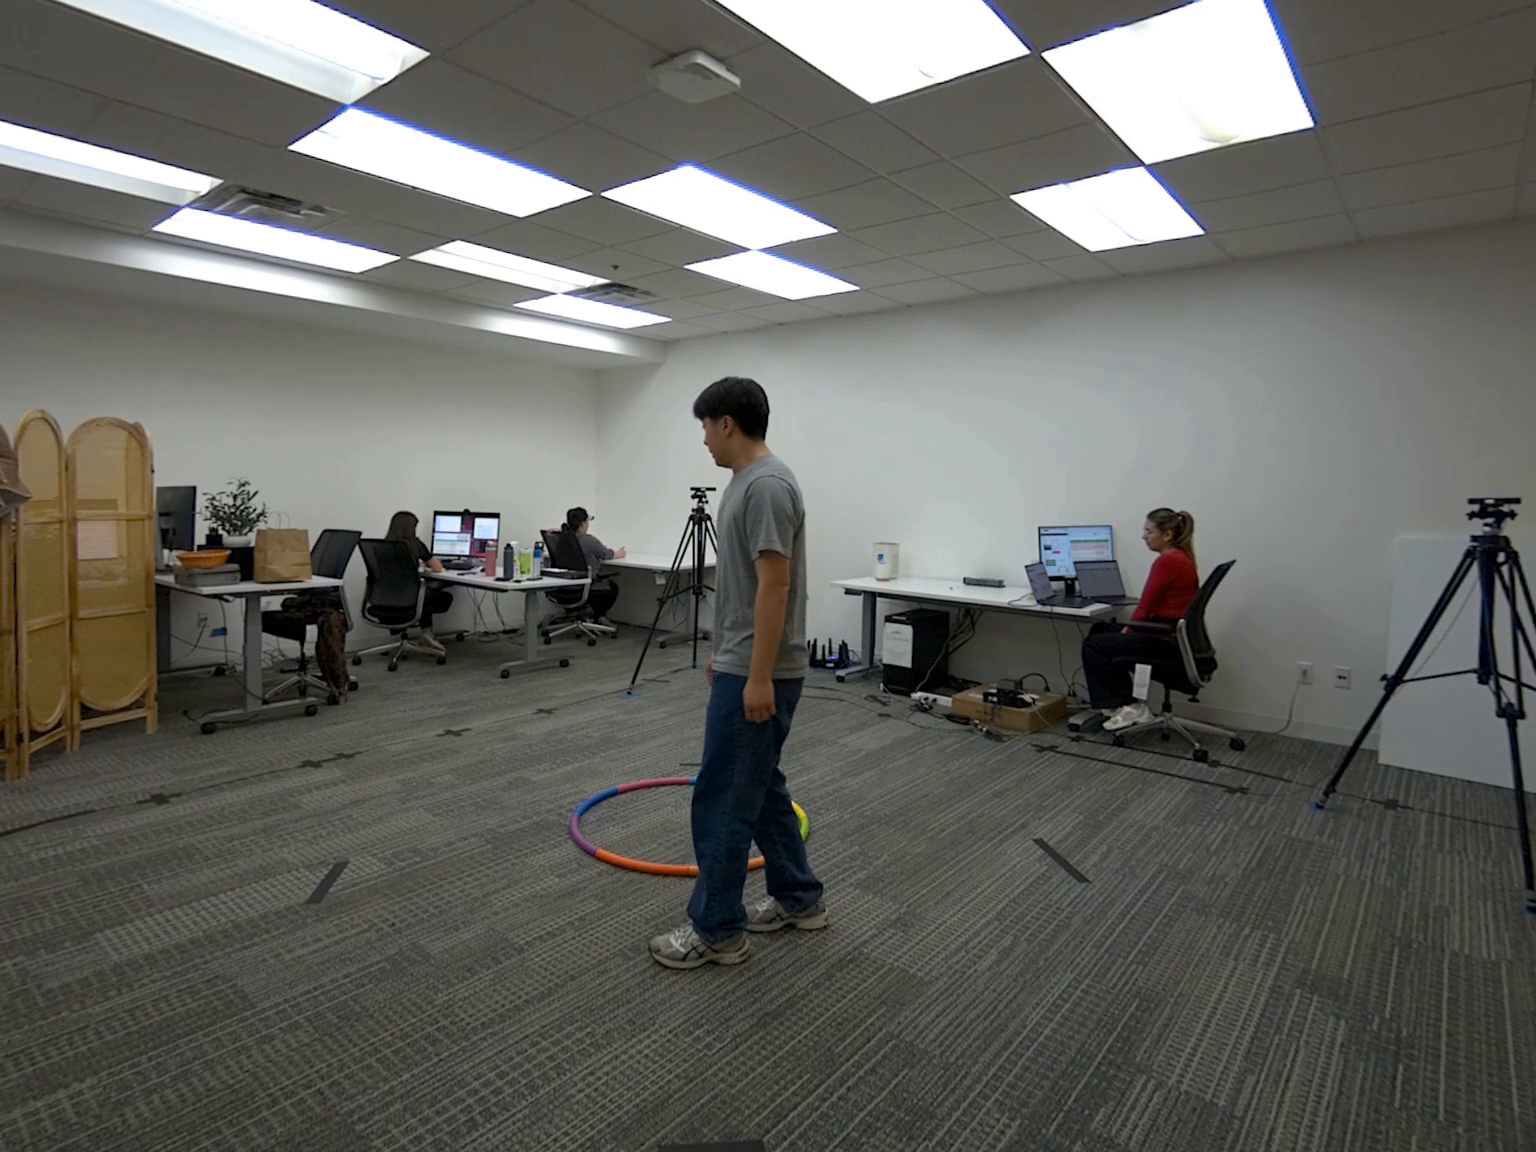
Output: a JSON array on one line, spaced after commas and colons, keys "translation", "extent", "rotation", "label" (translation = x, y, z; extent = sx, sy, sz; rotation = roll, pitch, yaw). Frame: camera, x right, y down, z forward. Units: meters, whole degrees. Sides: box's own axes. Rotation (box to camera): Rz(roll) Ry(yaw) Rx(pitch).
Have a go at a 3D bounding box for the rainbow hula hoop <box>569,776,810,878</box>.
[{"translation": [-0.334, 0.991, 3.514], "extent": [0.978, 0.035, 0.984], "rotation": [1, 6, -2], "label": "rainbow hula hoop"}]
